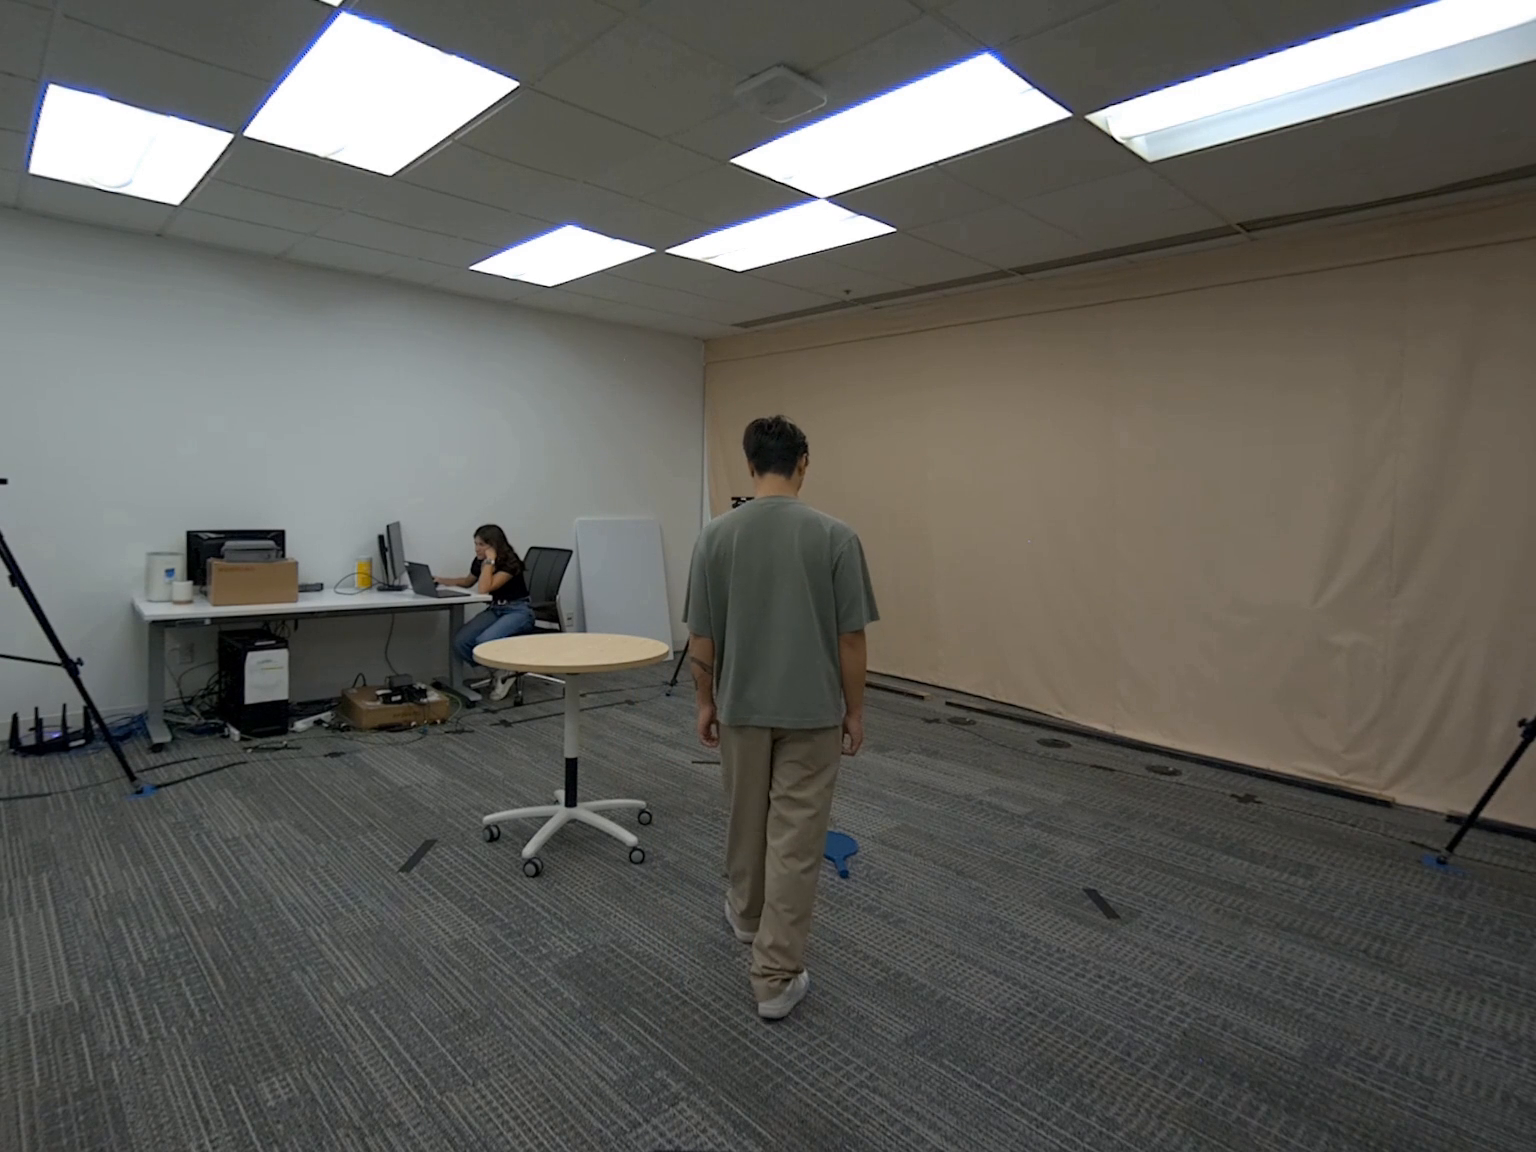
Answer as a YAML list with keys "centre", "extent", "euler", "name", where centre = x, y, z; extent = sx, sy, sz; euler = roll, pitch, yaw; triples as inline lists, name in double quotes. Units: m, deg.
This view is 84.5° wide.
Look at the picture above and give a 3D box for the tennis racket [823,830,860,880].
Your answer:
- centre: [0.254, 1.080, 3.315]
  extent: [0.213, 0.032, 0.435]
  euler: [3, 4, -6]
  name: "tennis racket"
